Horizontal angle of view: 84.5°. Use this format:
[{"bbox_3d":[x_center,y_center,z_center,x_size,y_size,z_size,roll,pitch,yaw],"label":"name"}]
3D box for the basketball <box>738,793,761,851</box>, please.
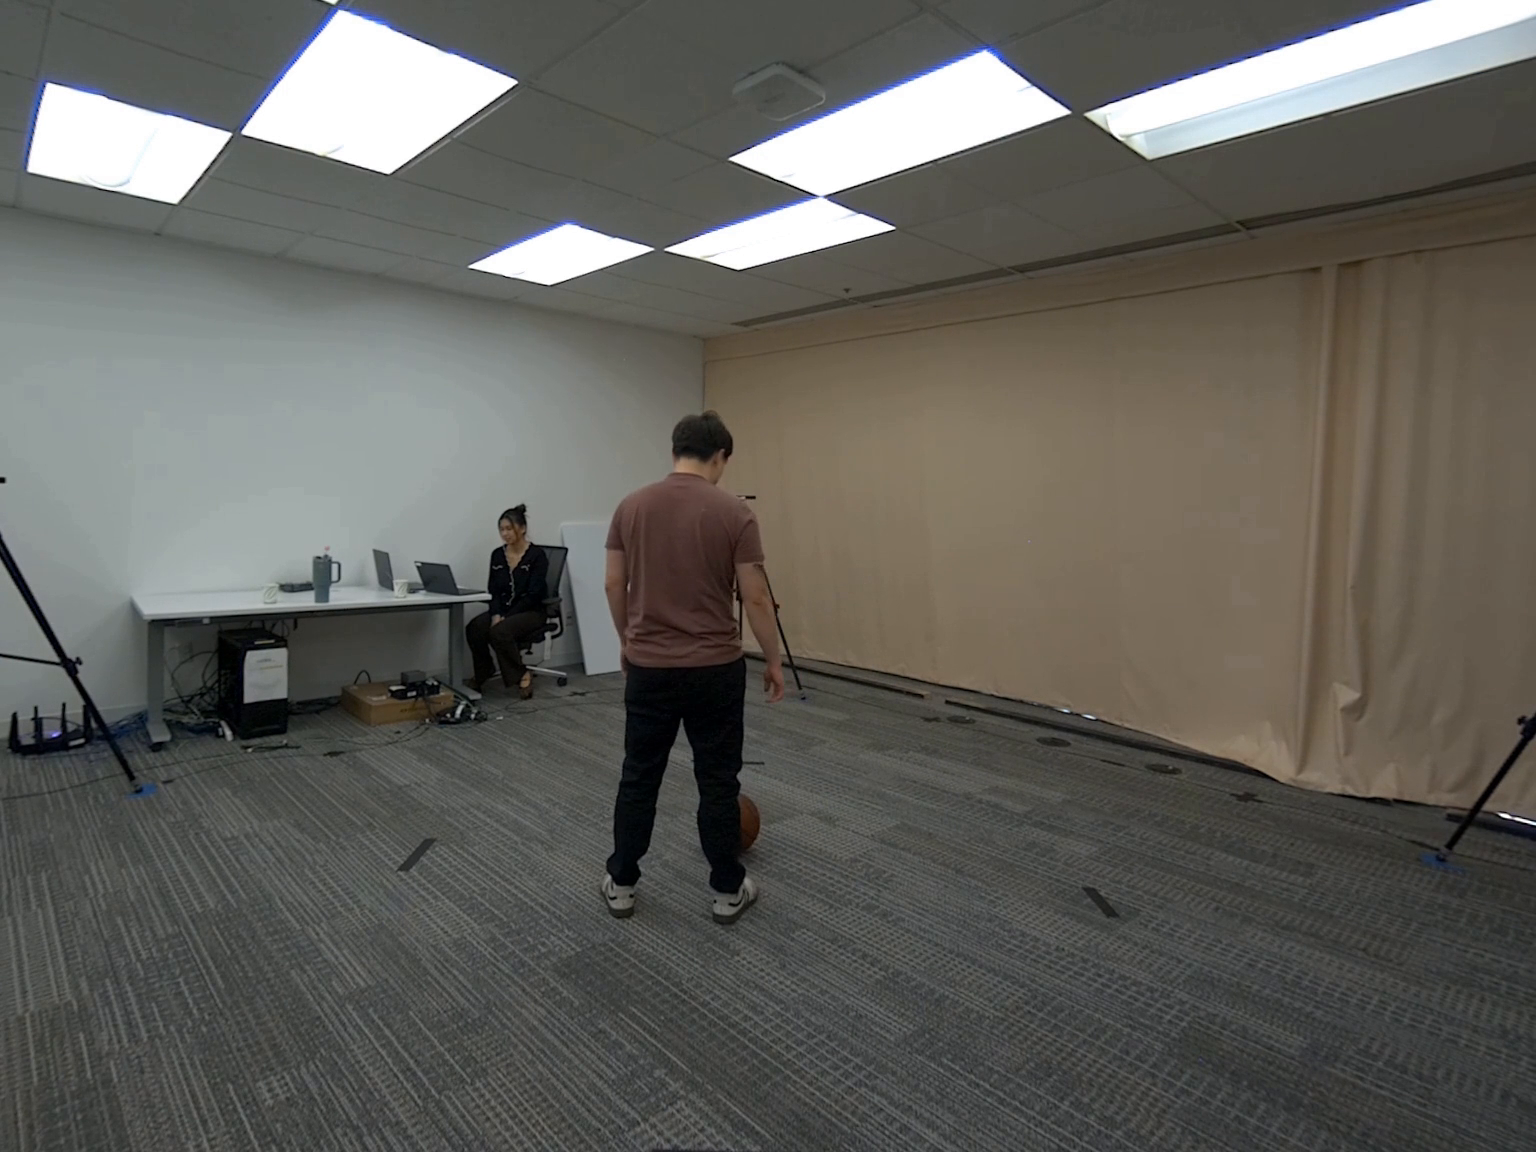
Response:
[{"bbox_3d":[-0.149,0.969,3.298,0.236,0.235,0.237,1,4,-1],"label":"basketball"}]
